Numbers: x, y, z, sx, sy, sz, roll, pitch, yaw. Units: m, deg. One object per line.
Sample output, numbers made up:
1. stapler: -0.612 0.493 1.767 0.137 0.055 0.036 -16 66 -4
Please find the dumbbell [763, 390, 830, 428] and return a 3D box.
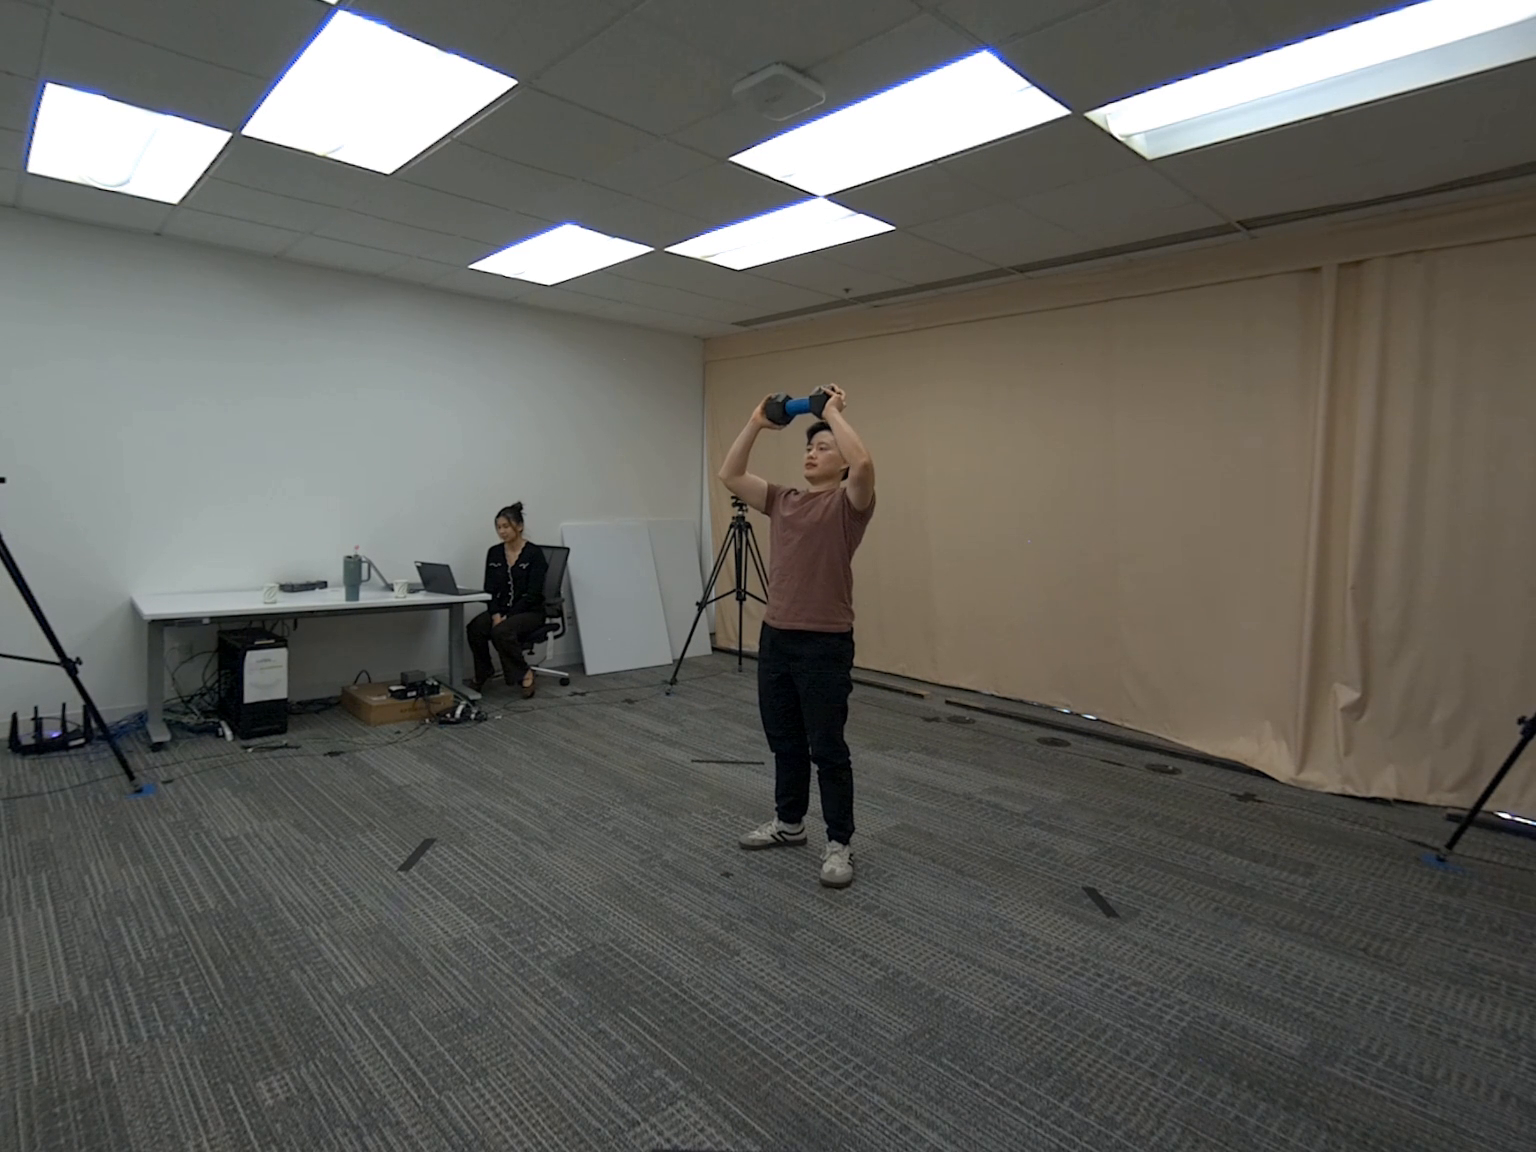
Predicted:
1. dumbbell: 0.123 -0.637 3.145 0.300 0.106 0.123 1 41 42
